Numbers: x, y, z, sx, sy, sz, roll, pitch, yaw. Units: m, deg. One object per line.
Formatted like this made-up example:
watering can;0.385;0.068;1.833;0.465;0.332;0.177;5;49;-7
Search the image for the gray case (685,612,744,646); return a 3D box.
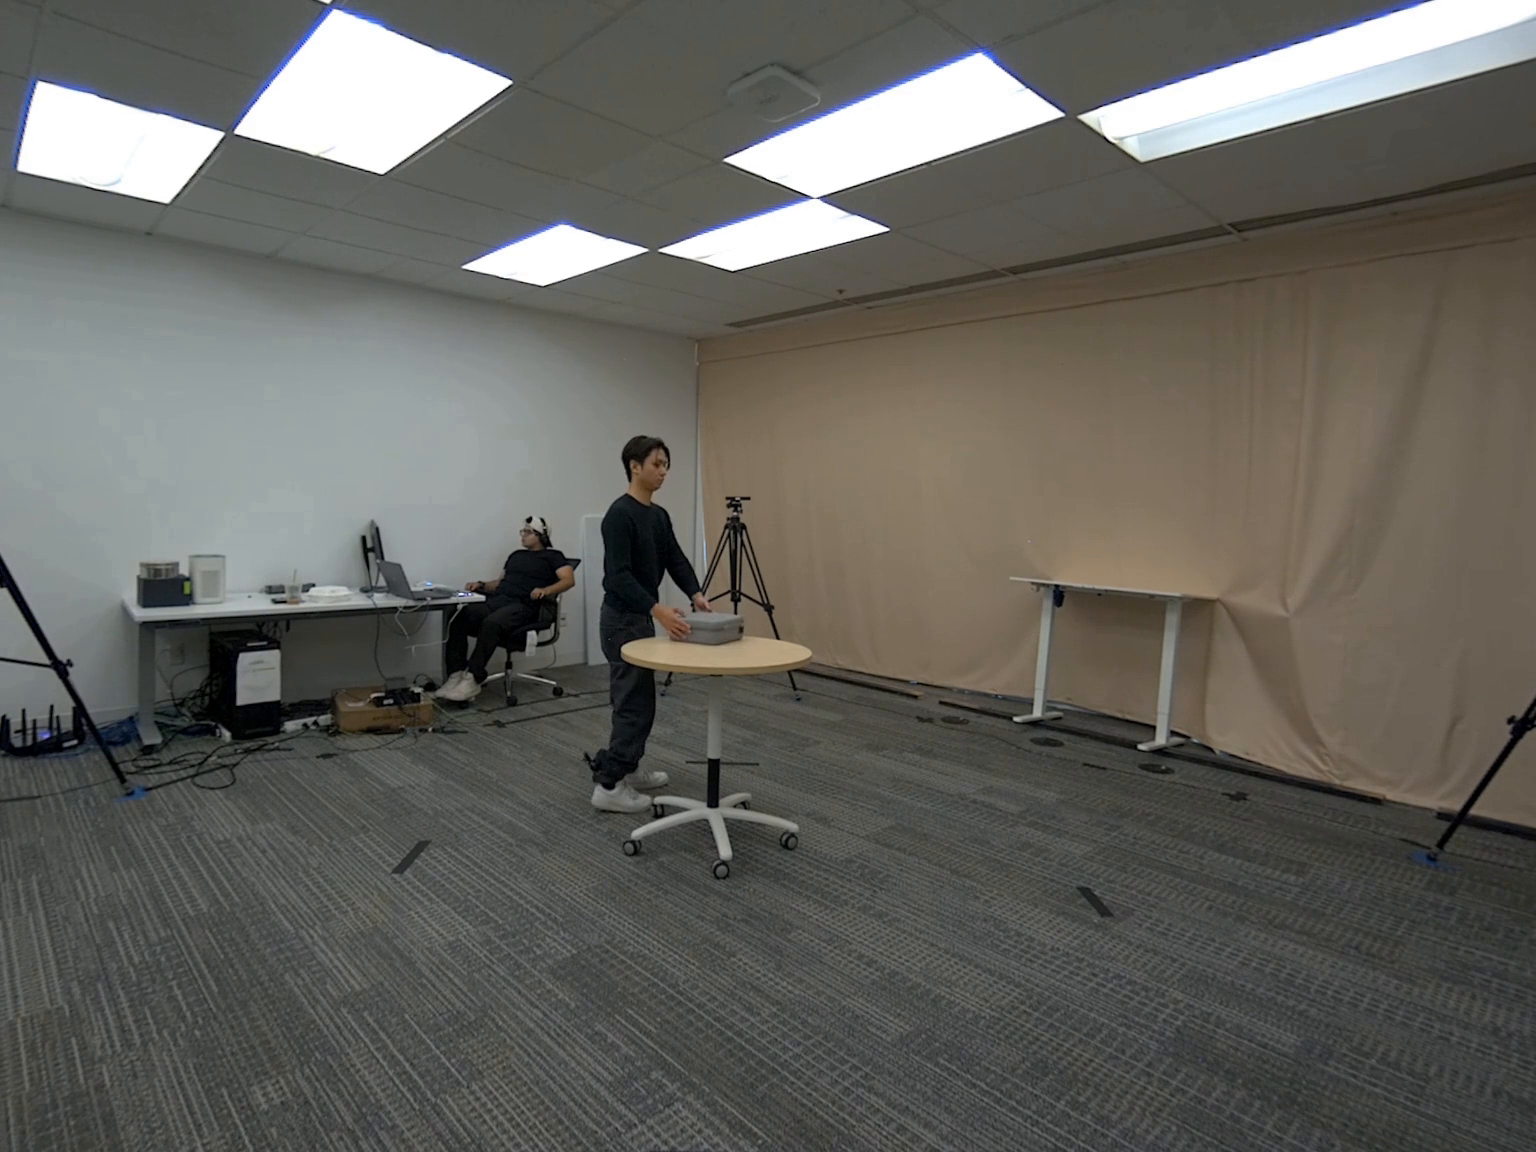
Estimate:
gray case;-0.279;0.223;3.626;0.266;0.104;0.252;4;6;27
